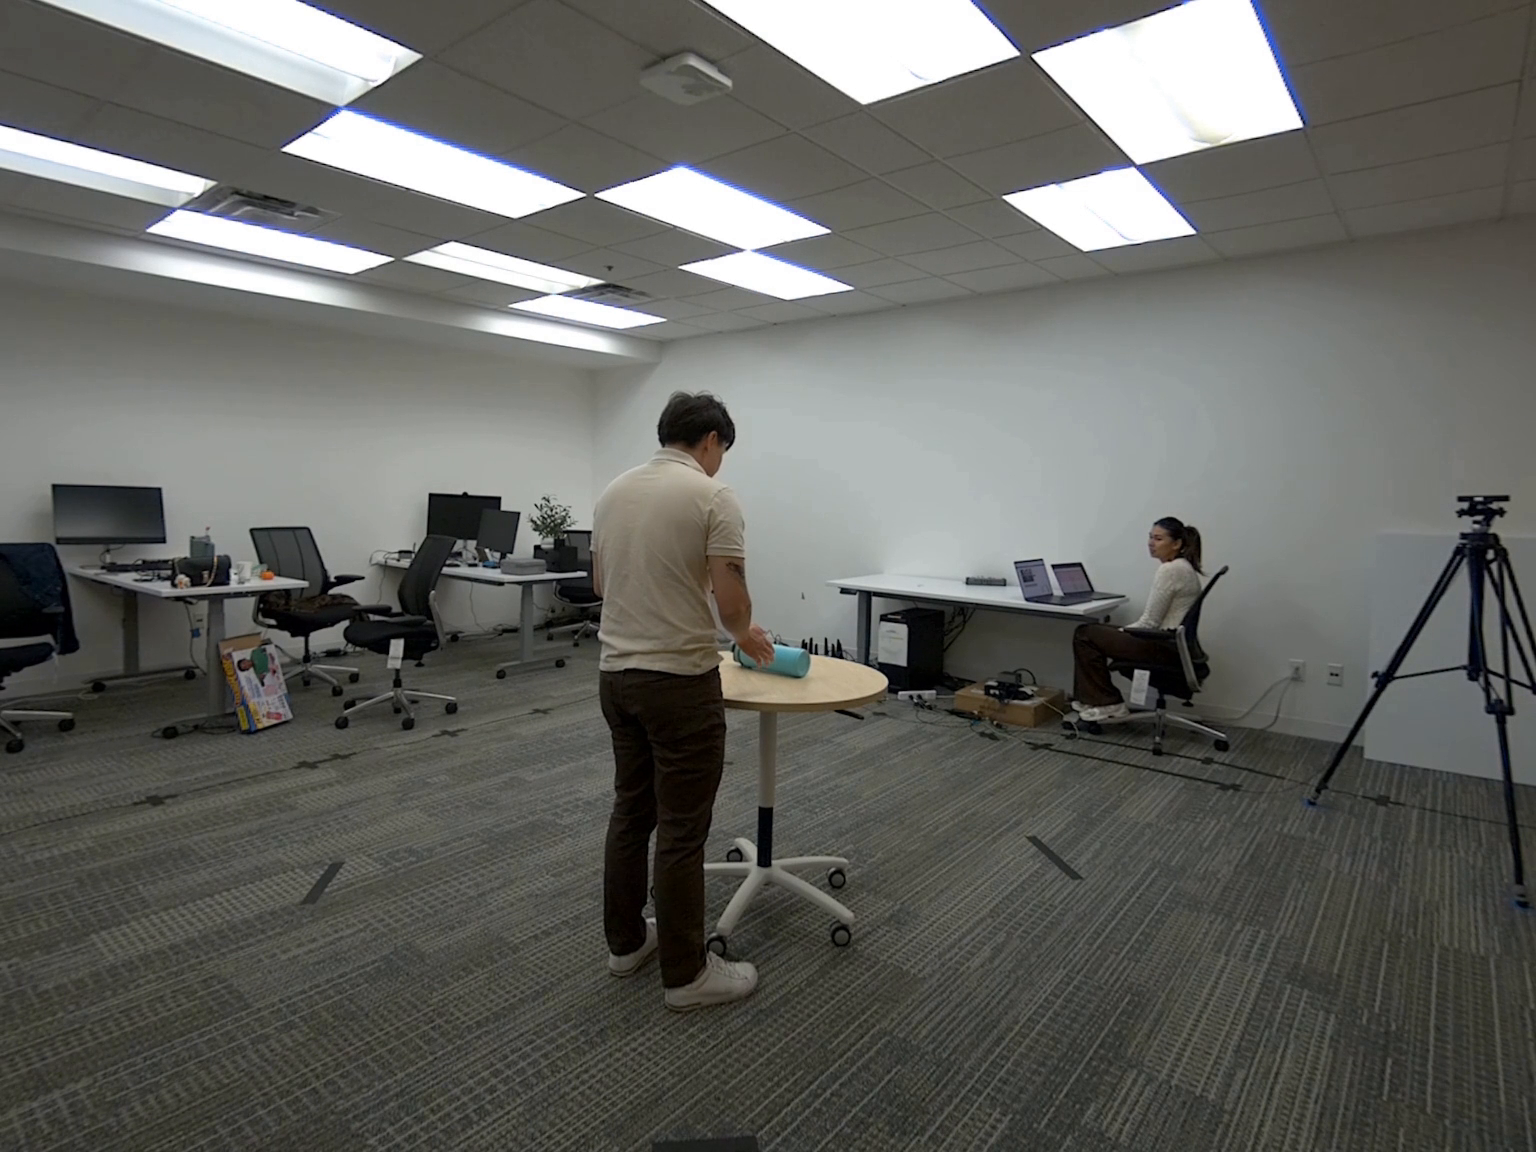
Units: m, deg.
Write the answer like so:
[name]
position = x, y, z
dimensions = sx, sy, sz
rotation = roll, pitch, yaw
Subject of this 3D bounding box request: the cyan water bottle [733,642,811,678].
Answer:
[cyan water bottle]
position = -0.015, 0.266, 2.827
dimensions = 0.293, 0.092, 0.090
rotation = 7, 7, 34
